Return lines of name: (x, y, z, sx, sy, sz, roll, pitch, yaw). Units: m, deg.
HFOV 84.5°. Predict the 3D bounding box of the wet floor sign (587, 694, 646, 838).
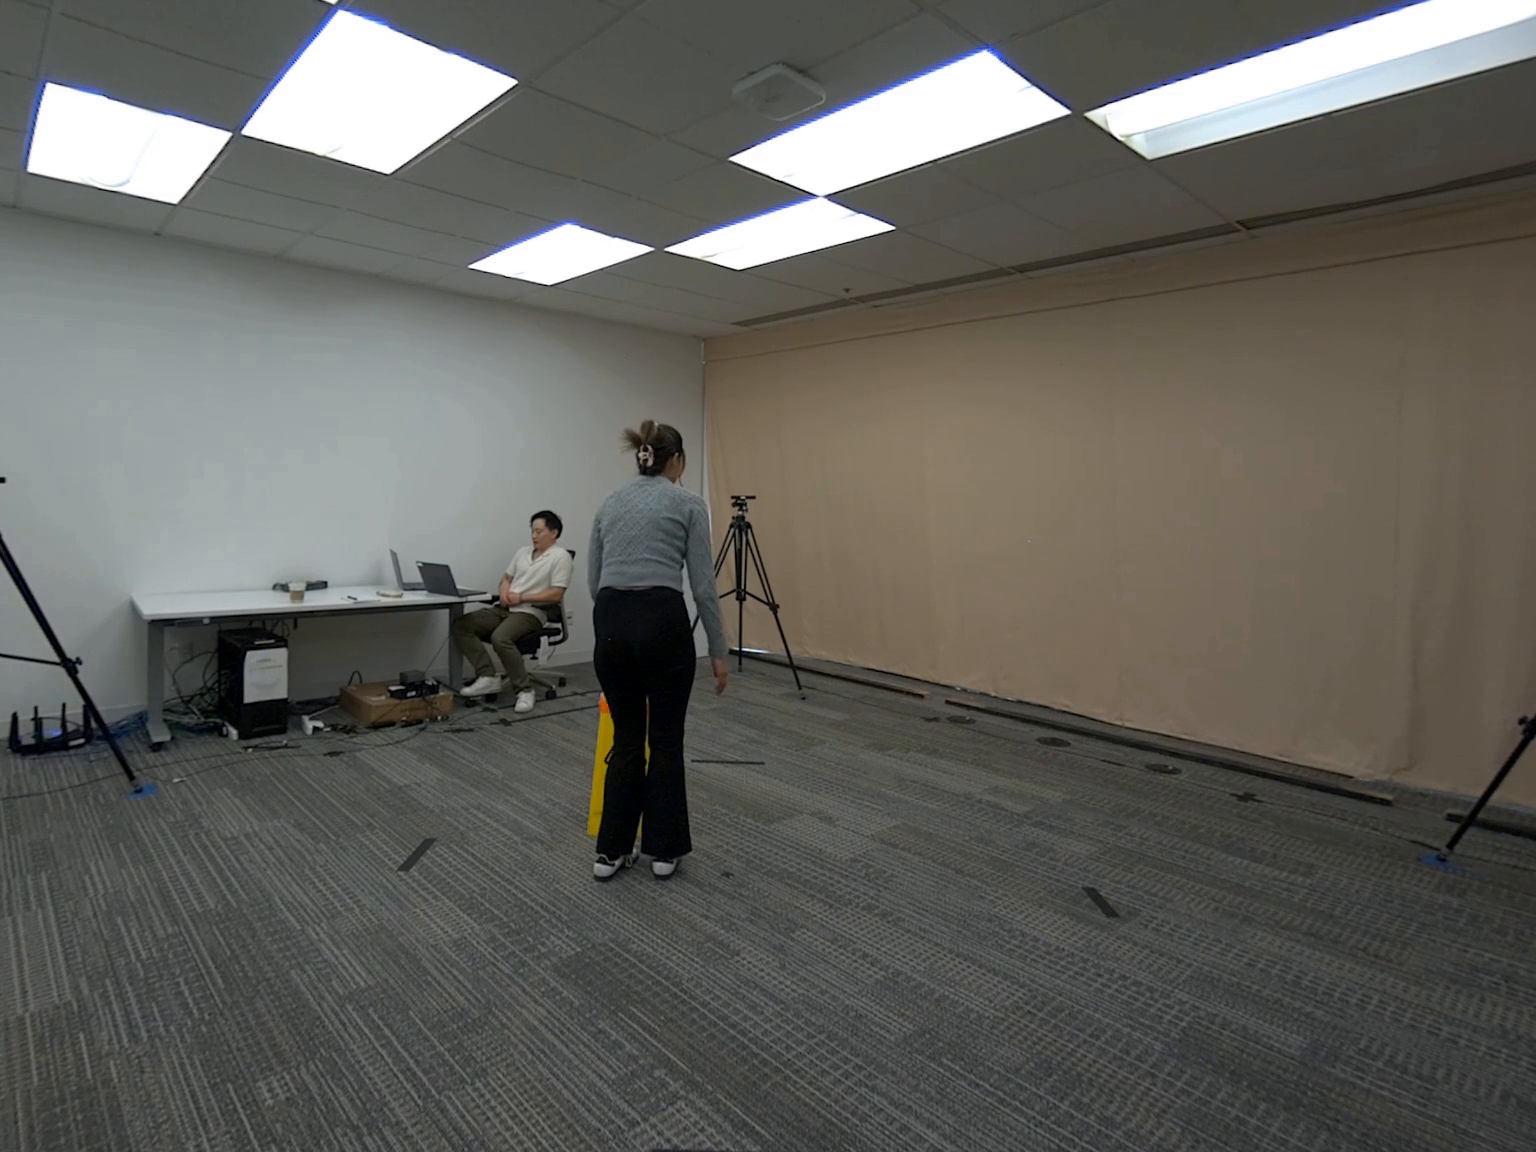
wet floor sign: (-0.589, 0.729, 3.559, 0.282, 0.645, 0.290, 3, 3, 0)
